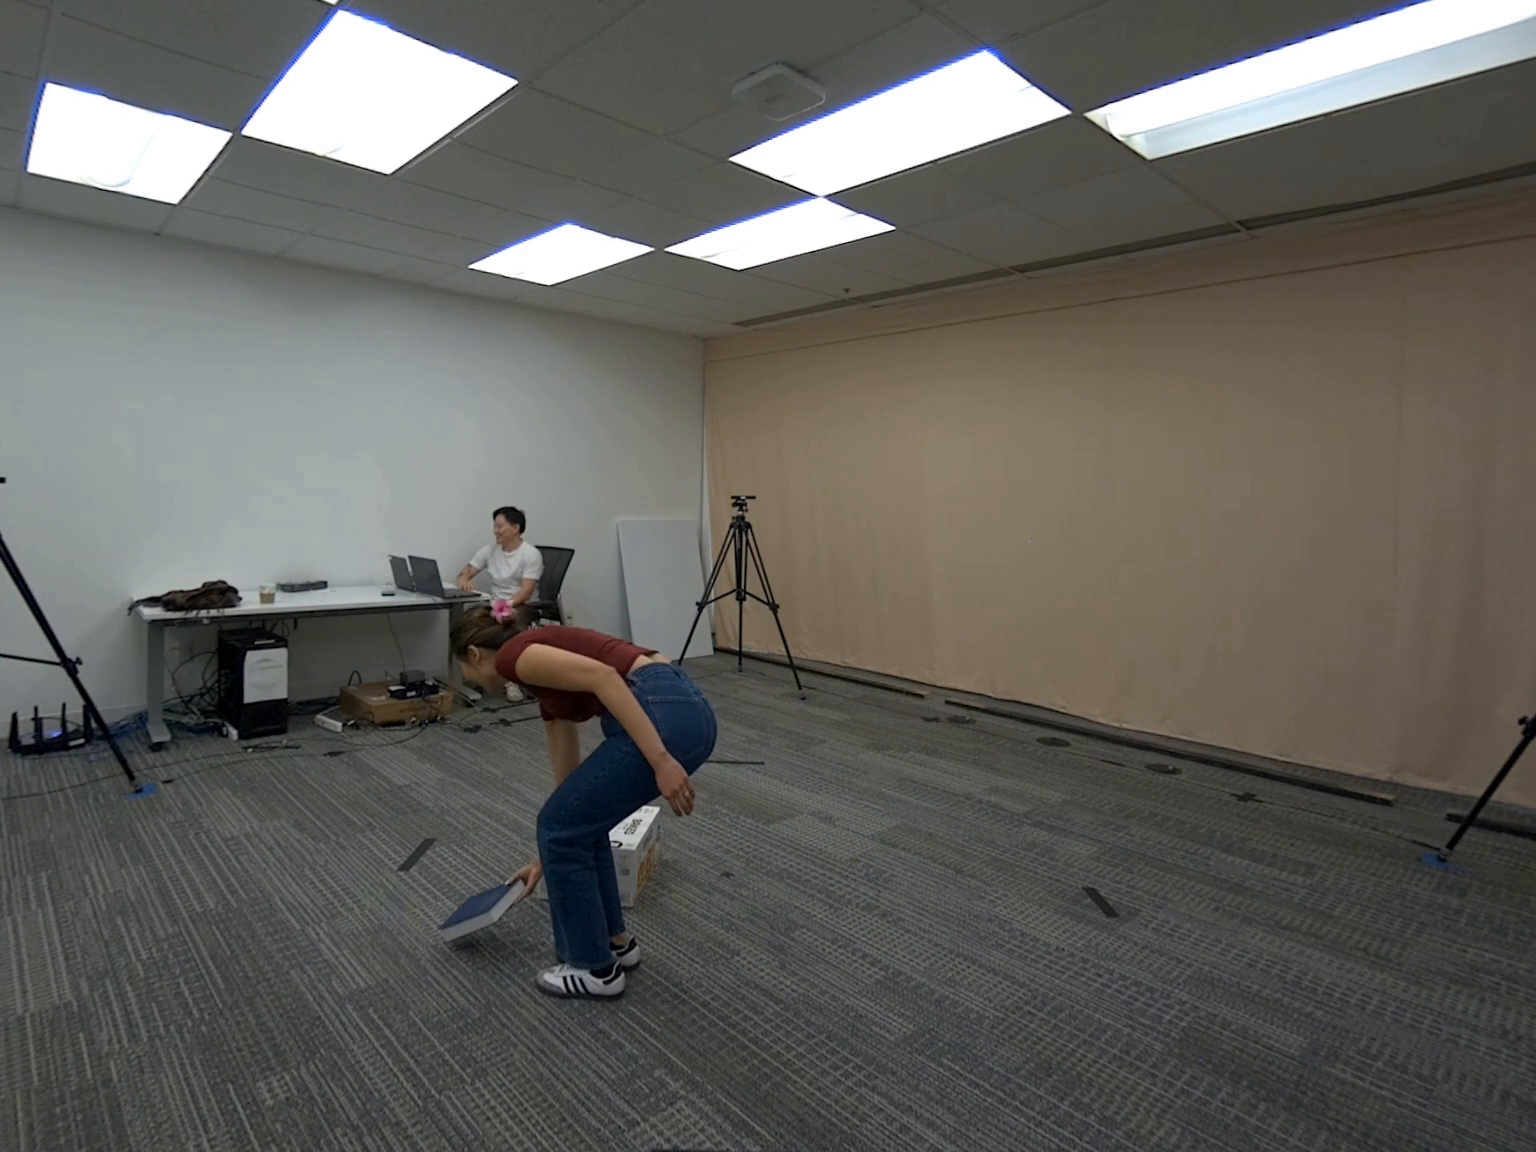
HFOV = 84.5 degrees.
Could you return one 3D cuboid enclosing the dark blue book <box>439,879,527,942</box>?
[{"bbox_3d":[-0.876,0.999,2.555,0.247,0.045,0.162,-27,4,28],"label":"dark blue book"}]
